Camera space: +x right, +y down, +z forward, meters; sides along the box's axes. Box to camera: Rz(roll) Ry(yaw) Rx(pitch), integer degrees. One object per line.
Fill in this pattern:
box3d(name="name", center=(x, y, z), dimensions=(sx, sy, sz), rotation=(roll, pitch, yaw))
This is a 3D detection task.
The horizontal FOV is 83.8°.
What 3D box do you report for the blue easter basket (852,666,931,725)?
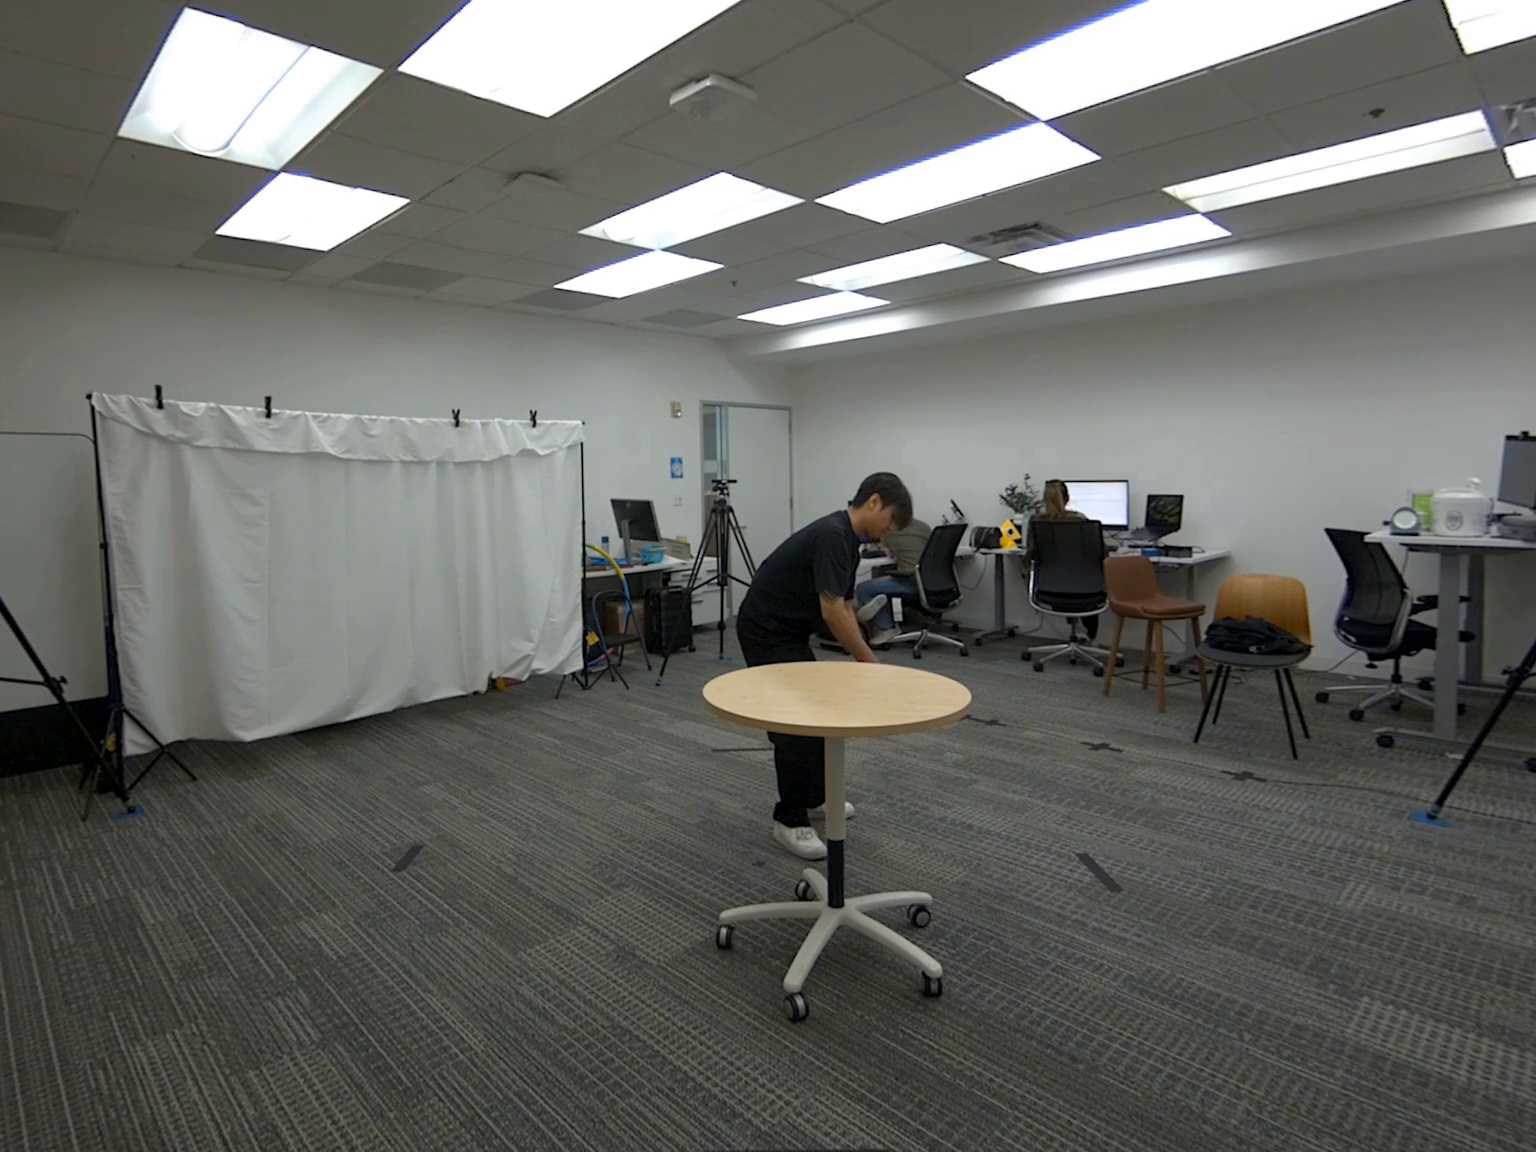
box3d(name="blue easter basket", center=(0.470, 0.458, 3.316), dimensions=(0.243, 0.155, 0.244), rotation=(-4, 4, -1))
